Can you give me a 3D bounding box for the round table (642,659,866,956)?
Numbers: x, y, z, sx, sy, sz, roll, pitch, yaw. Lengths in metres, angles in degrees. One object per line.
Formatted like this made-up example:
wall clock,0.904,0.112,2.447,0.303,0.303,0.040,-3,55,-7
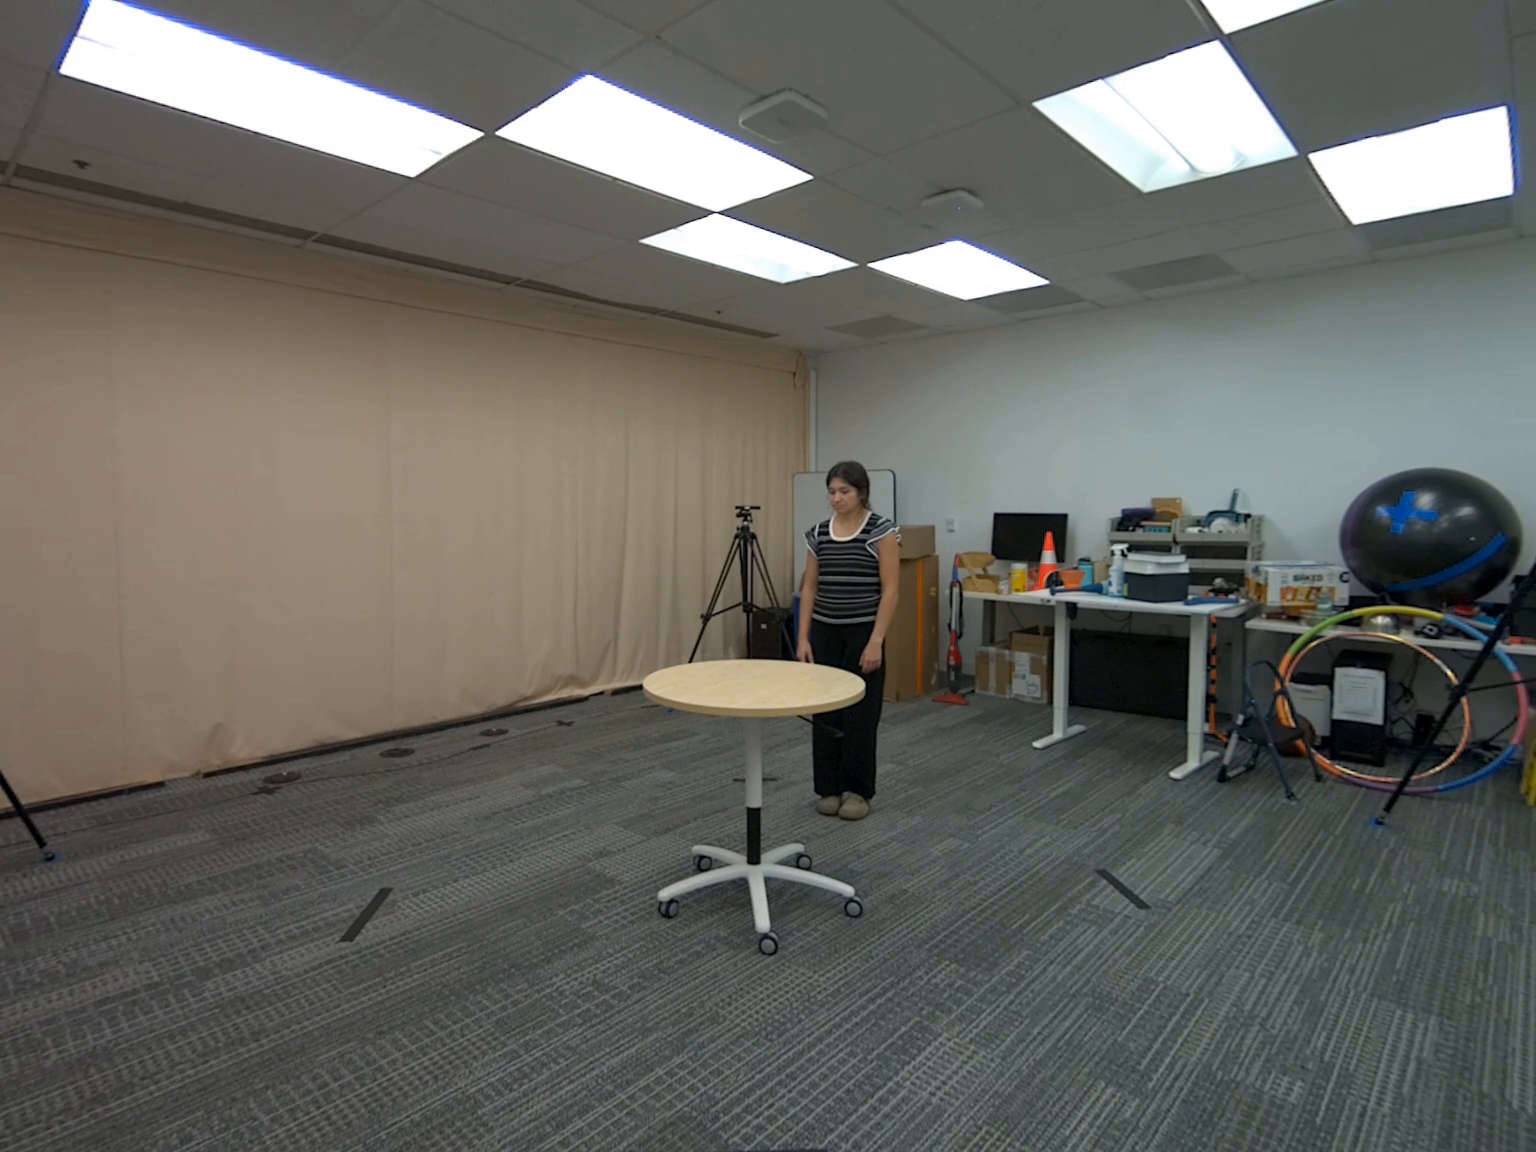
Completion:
round table,-0.048,0.757,2.945,0.763,0.792,0.767,0,4,-2
